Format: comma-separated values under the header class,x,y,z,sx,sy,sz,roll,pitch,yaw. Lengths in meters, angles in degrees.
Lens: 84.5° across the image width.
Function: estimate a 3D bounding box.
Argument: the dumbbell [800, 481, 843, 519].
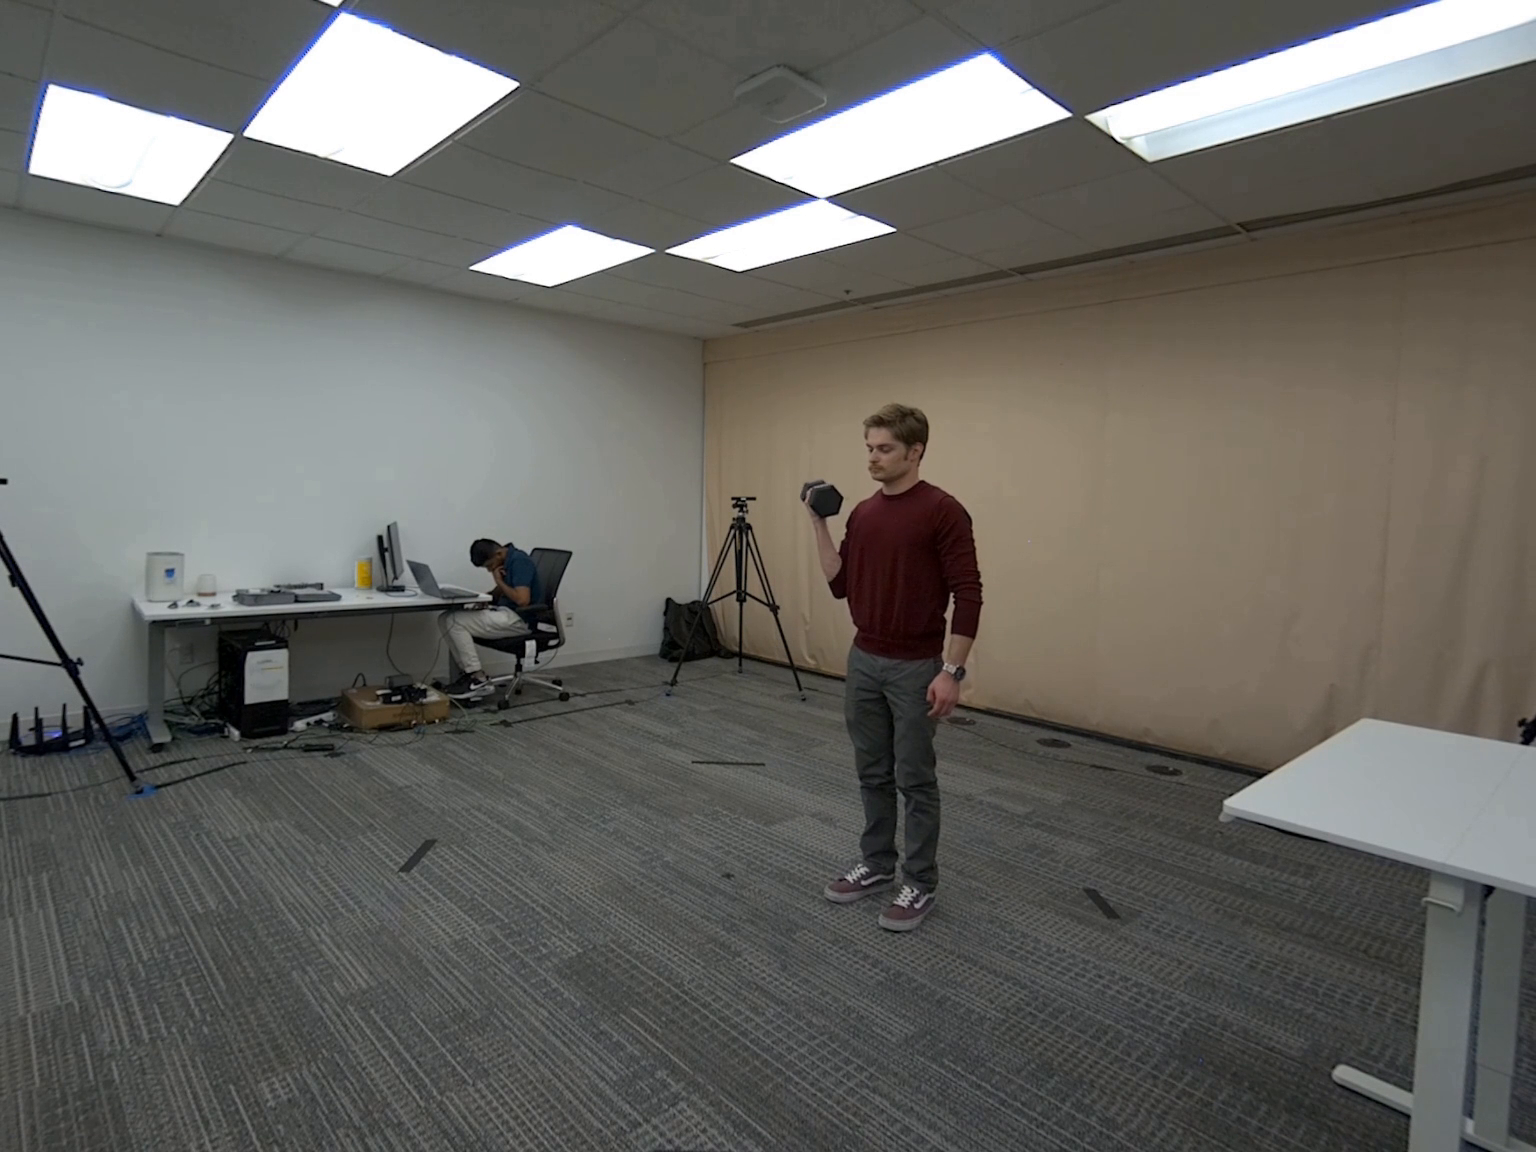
class,x,y,z,sx,sy,sz,roll,pitch,yaw
dumbbell,0.180,-0.169,2.970,0.111,0.291,0.122,4,13,23
